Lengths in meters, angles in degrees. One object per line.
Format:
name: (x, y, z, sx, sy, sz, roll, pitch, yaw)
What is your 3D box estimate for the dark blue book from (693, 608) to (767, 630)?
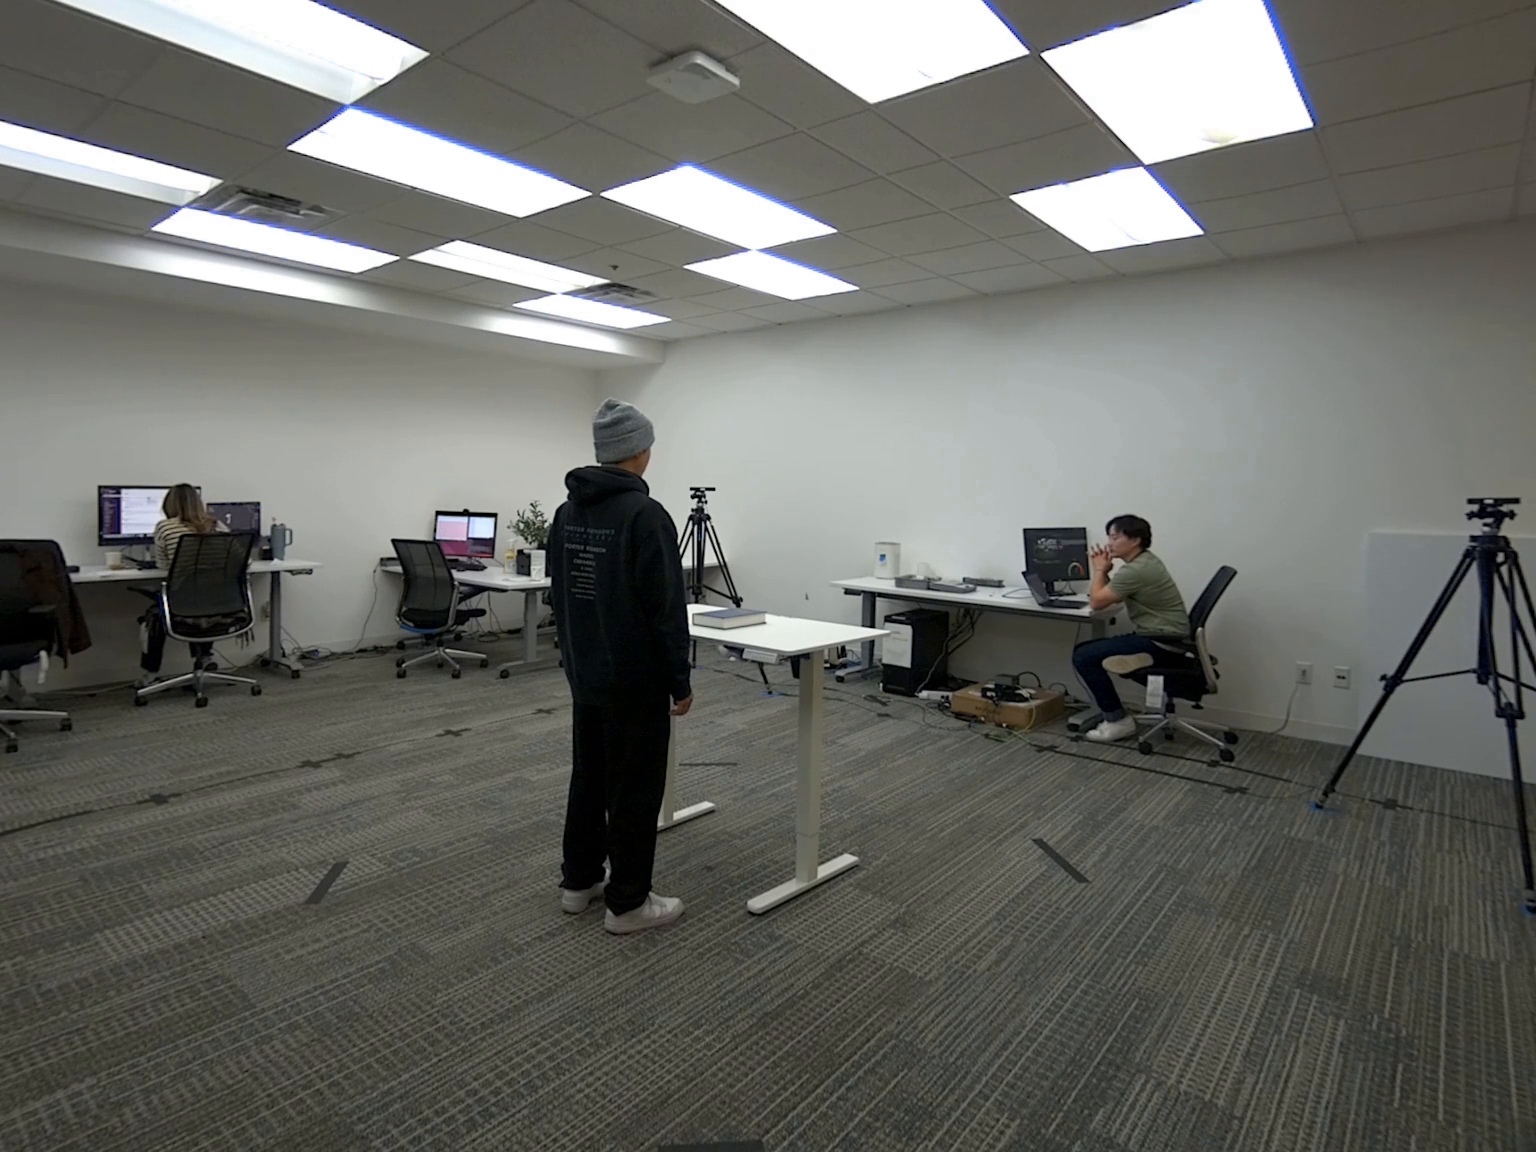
dark blue book: (-0.151, 0.157, 3.189, 0.169, 0.045, 0.238, 5, 6, 40)
